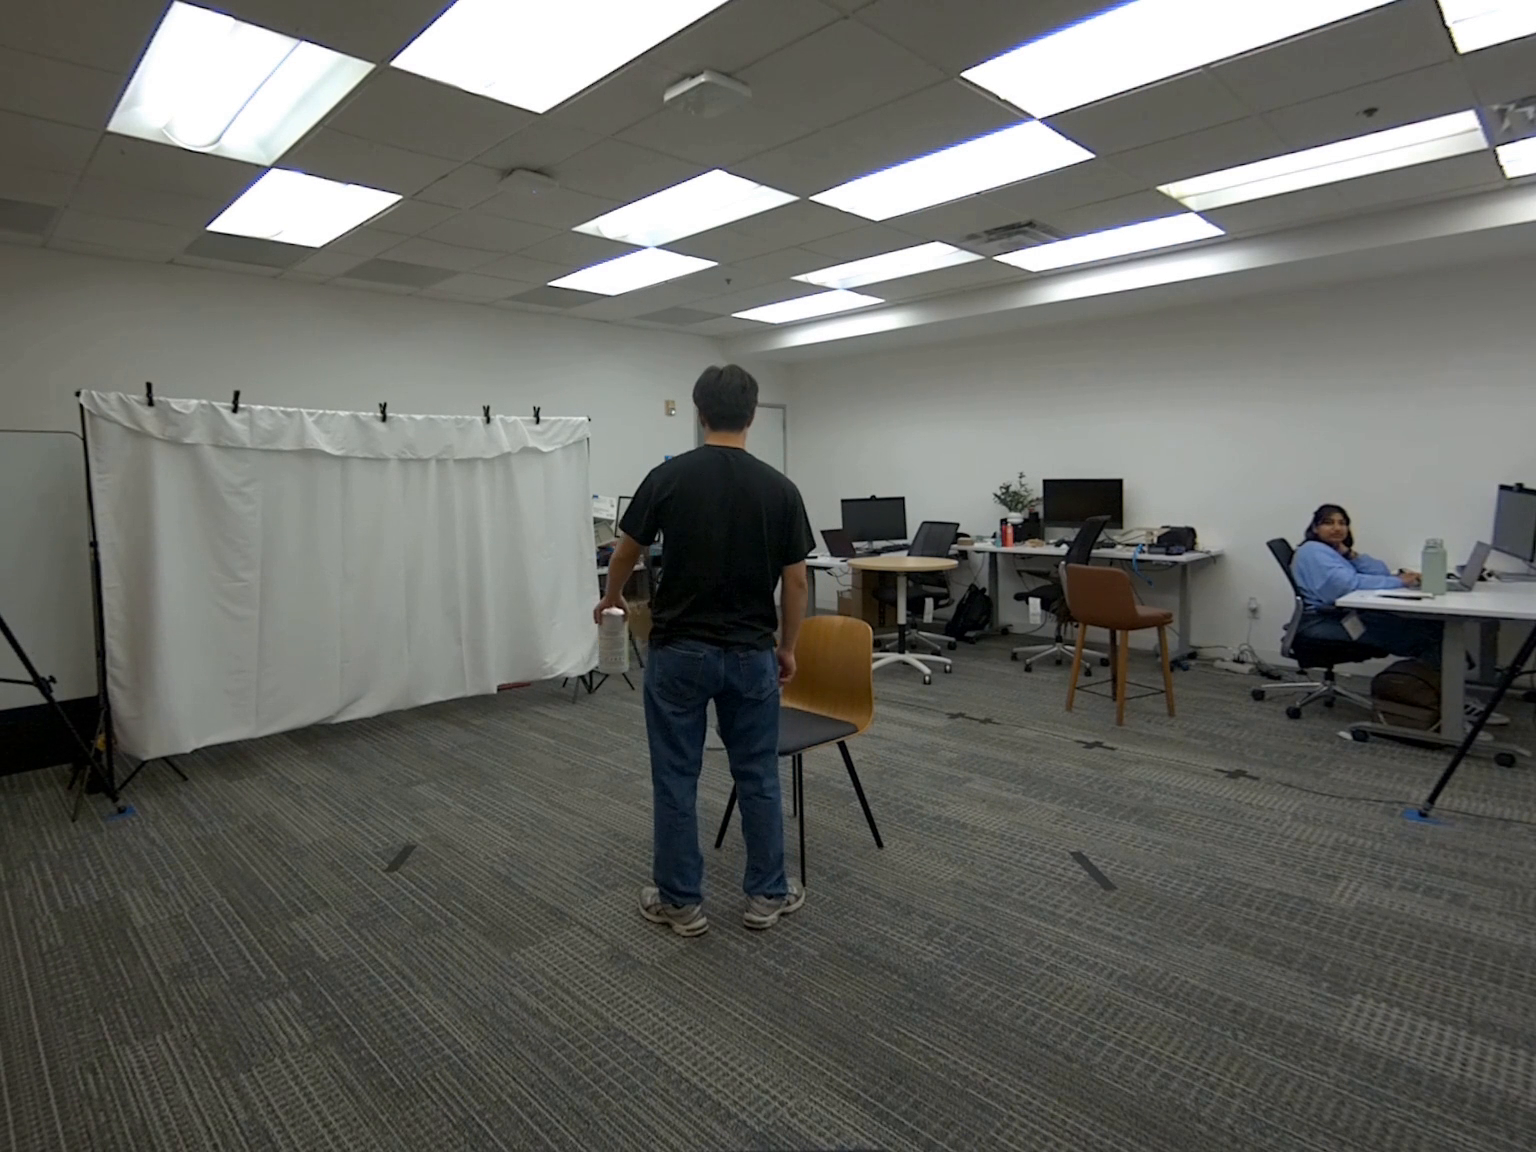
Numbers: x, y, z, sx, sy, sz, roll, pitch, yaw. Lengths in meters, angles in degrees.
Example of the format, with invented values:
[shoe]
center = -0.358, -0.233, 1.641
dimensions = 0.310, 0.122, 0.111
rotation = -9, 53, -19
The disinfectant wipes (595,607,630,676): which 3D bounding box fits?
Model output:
[disinfectant wipes]
center = -0.545, 0.229, 3.025
dimensions = 0.118, 0.216, 0.119
rotation = 0, 9, -2
